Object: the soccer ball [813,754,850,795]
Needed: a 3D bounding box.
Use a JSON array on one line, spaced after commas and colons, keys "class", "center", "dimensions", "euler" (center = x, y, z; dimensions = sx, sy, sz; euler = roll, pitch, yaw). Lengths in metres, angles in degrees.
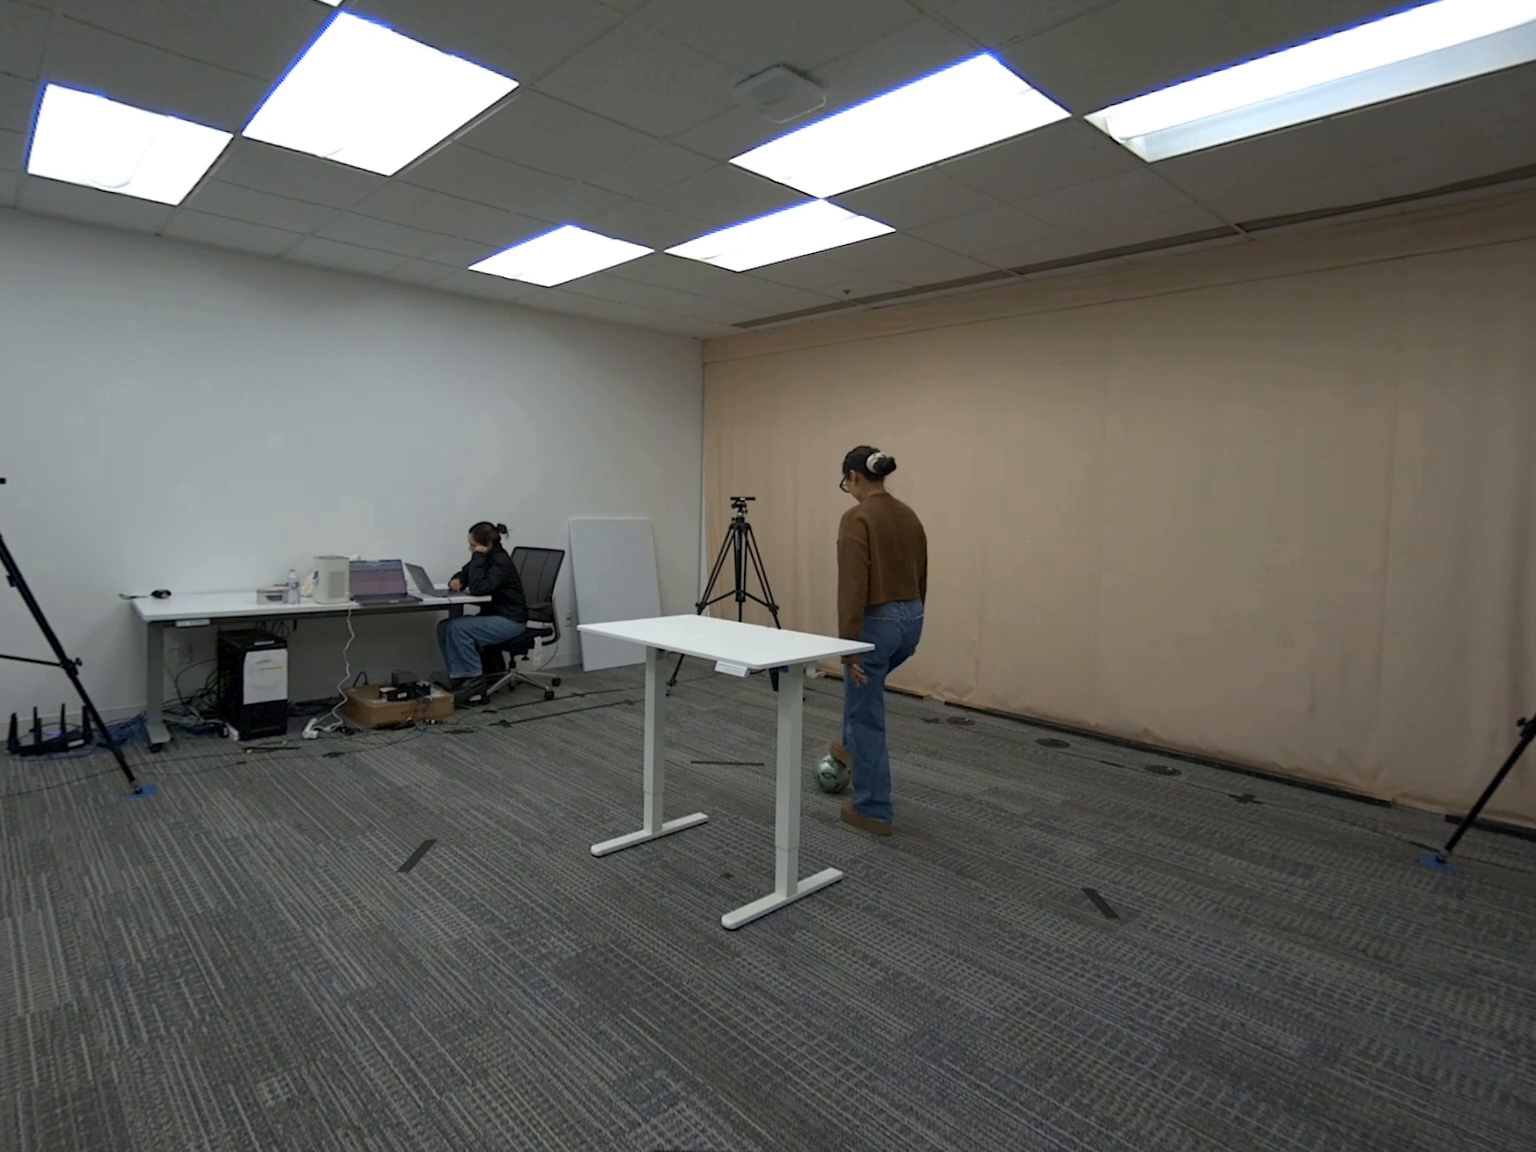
[{"class": "soccer ball", "center": [0.301, 0.947, 4.060], "dimensions": [0.187, 0.187, 0.188], "euler": [1, 4, -1]}]
